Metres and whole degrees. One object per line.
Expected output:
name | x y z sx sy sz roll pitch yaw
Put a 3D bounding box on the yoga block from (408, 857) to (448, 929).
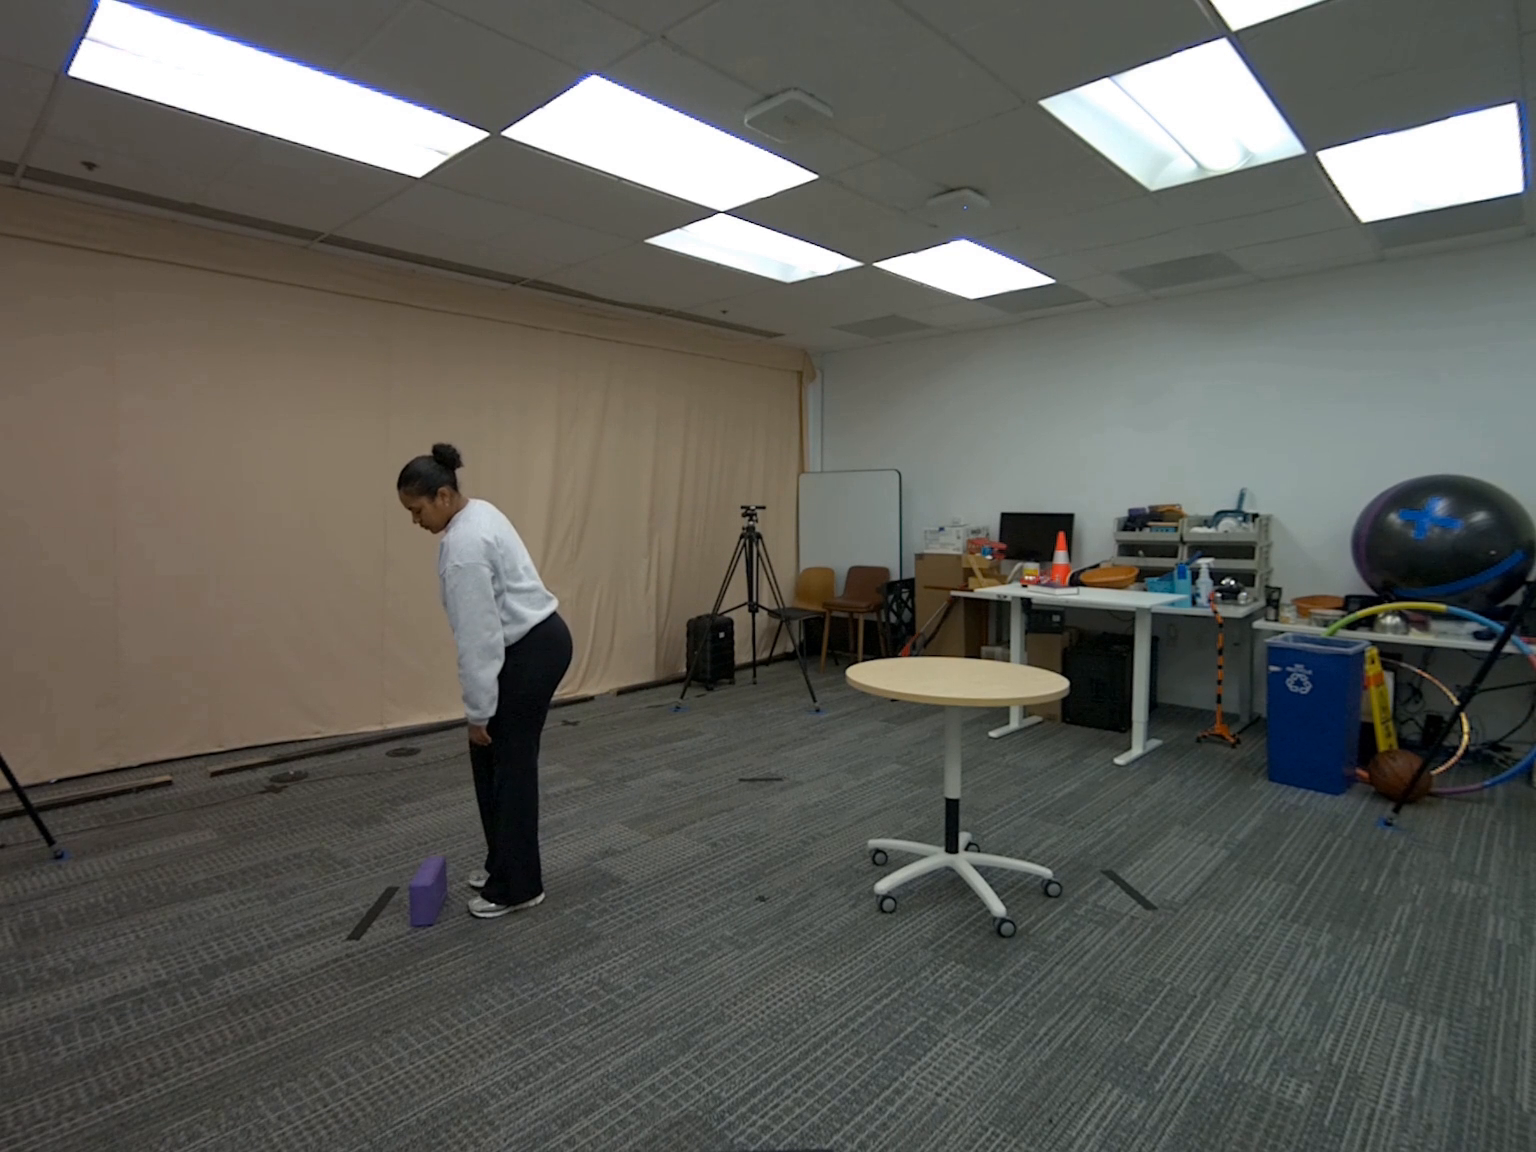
yoga block | -1.171 1.088 2.905 0.075 0.148 0.232 -1 4 -11
